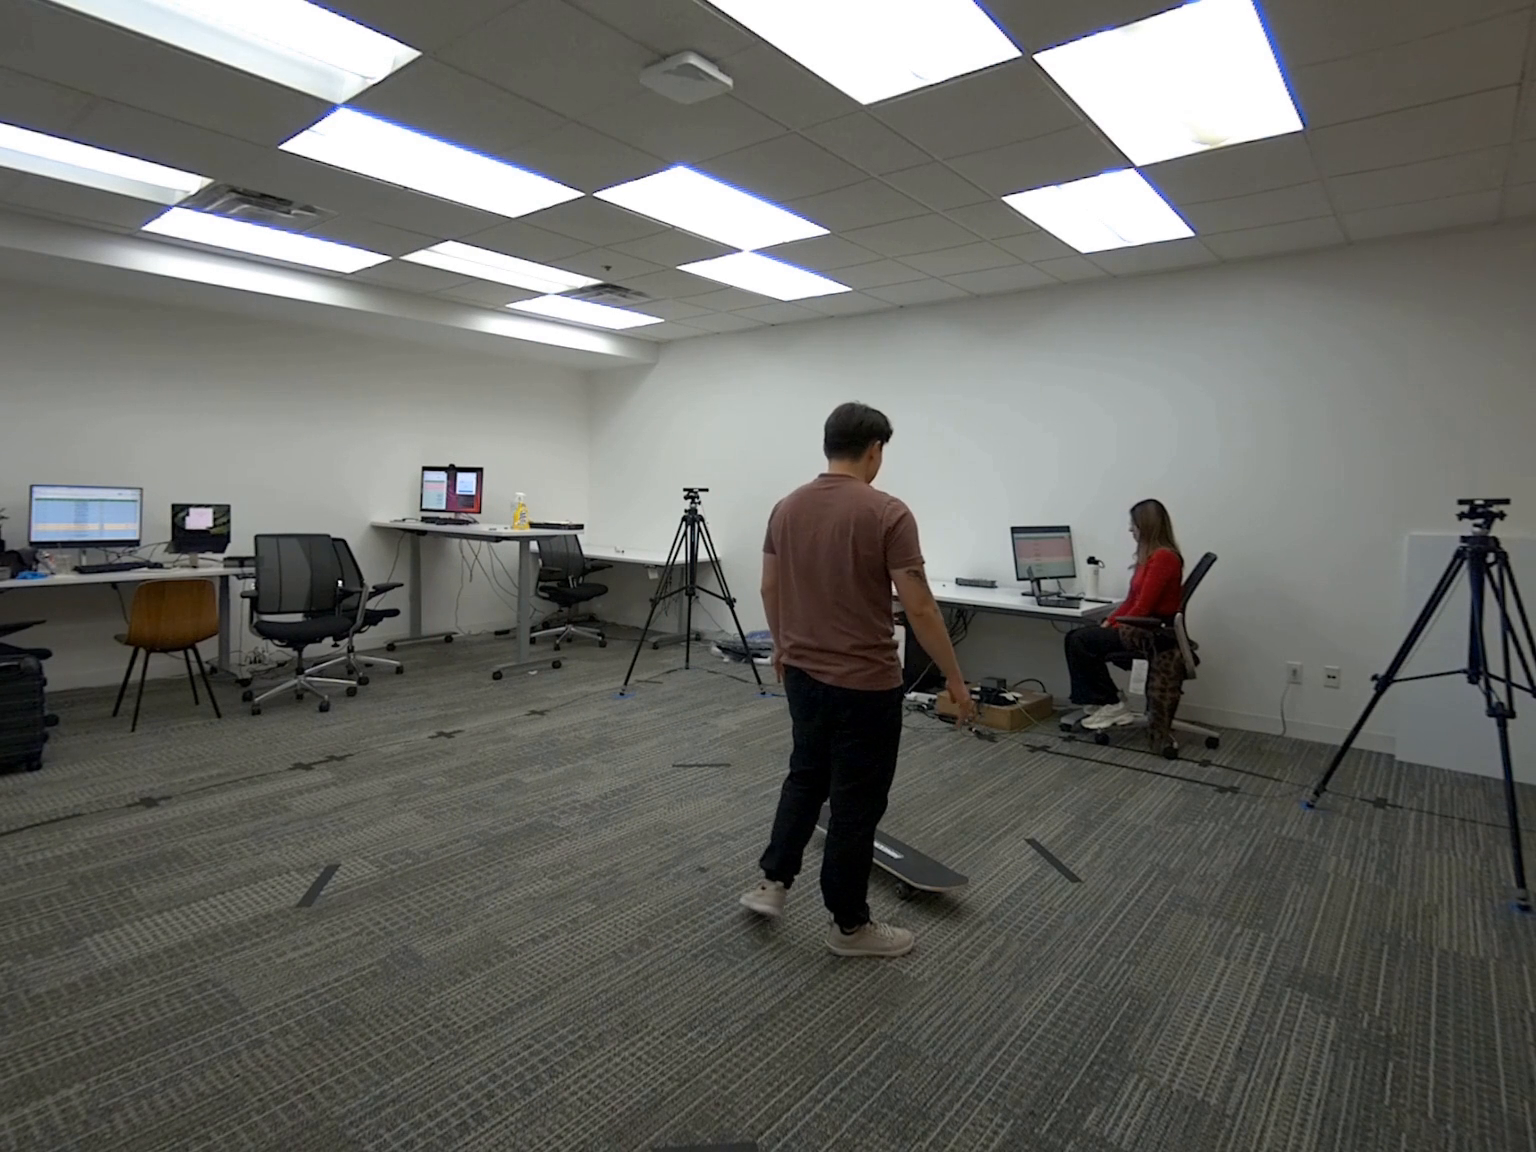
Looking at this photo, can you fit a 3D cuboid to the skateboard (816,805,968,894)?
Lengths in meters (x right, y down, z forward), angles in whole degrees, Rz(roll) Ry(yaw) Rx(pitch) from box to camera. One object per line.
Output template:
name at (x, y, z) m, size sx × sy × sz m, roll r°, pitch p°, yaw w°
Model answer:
skateboard at (0.408, 1.020, 3.130) m, size 0.188 × 0.110 × 0.810 m, roll -2°, pitch 6°, yaw -32°
